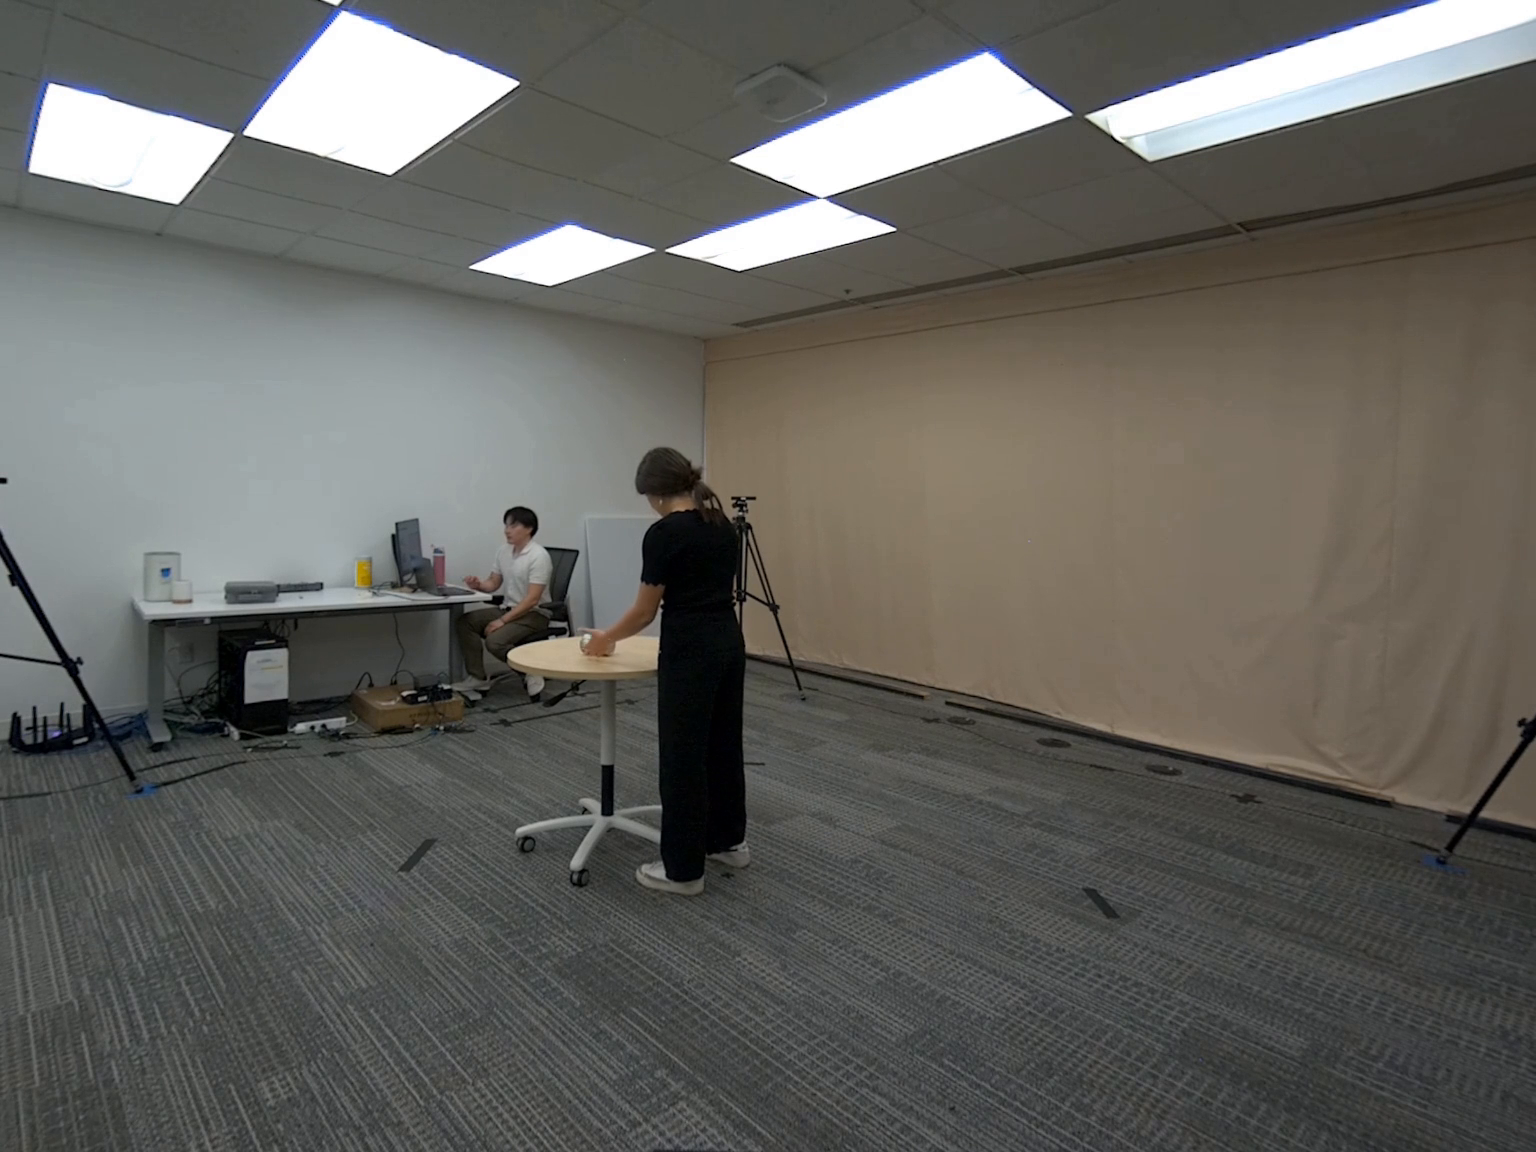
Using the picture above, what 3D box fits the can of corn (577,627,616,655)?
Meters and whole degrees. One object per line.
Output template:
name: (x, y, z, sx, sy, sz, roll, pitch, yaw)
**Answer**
can of corn: (-0.658, 0.264, 3.212, 0.113, 0.074, 0.073, 5, 5, 26)
